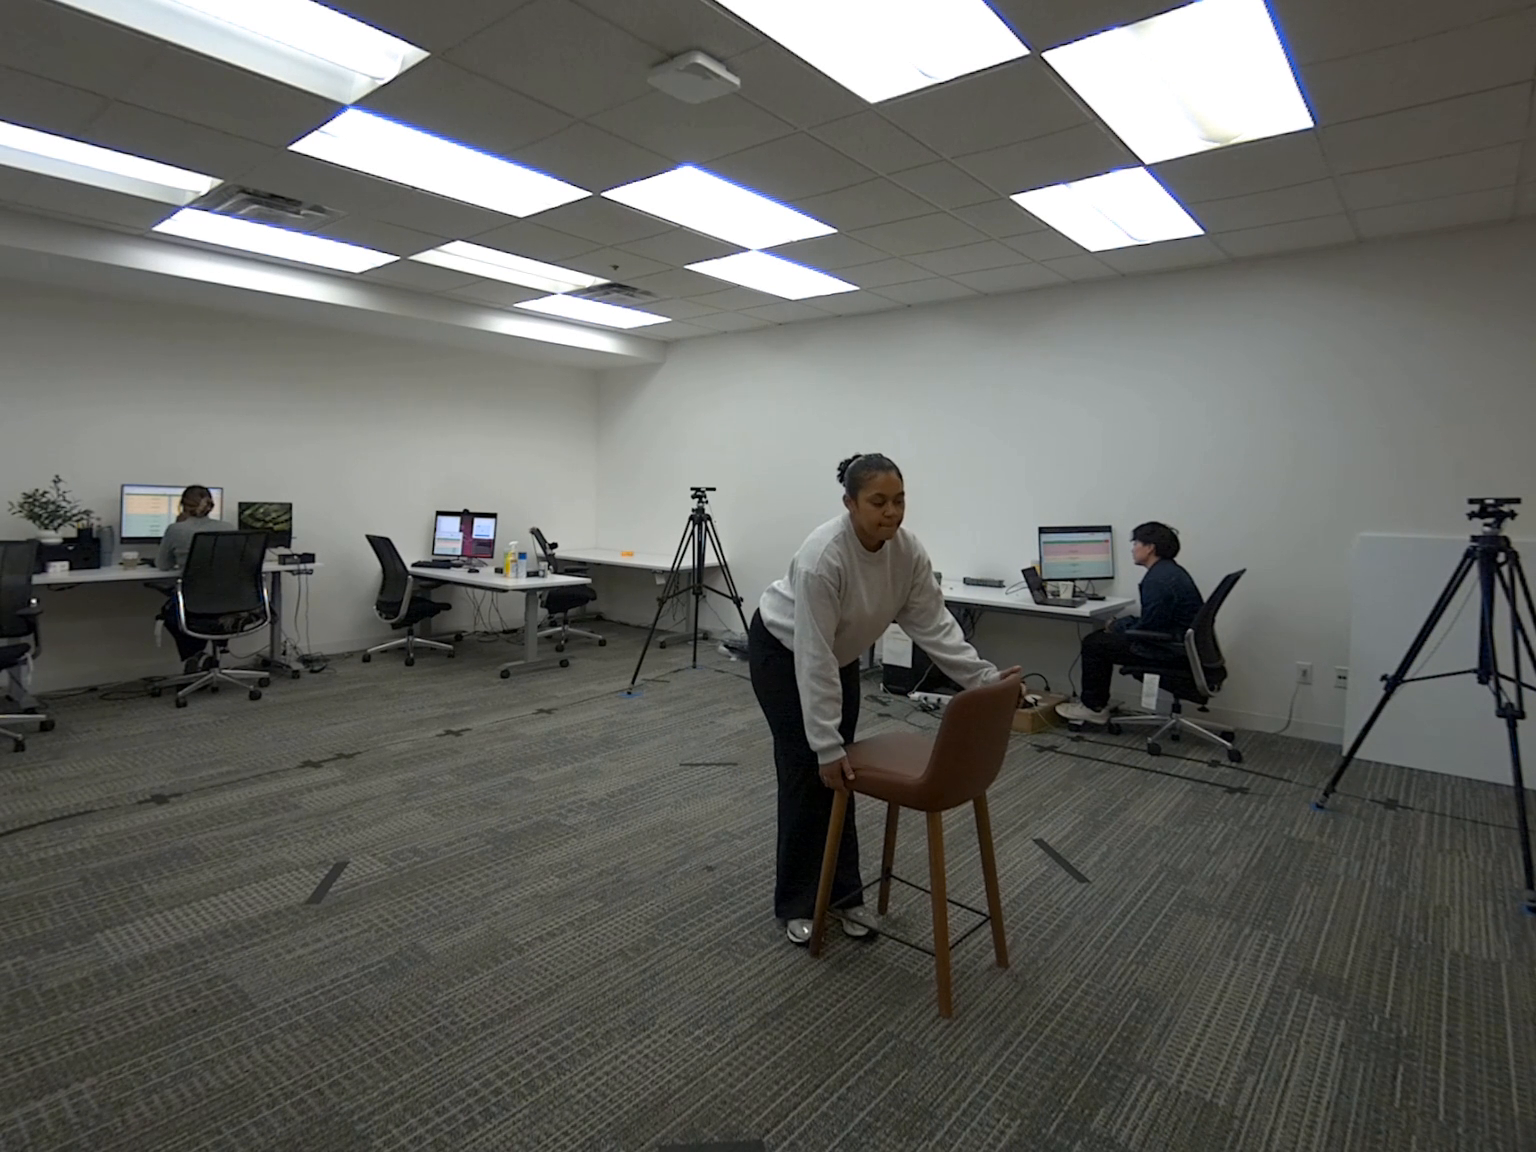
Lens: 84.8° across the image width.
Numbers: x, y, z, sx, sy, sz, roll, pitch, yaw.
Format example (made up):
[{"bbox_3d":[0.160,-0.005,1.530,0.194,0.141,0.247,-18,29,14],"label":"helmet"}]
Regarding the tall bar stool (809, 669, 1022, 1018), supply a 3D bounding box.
[{"bbox_3d":[0.439,0.699,2.507,0.484,0.886,0.442,7,6,41],"label":"tall bar stool"}]
